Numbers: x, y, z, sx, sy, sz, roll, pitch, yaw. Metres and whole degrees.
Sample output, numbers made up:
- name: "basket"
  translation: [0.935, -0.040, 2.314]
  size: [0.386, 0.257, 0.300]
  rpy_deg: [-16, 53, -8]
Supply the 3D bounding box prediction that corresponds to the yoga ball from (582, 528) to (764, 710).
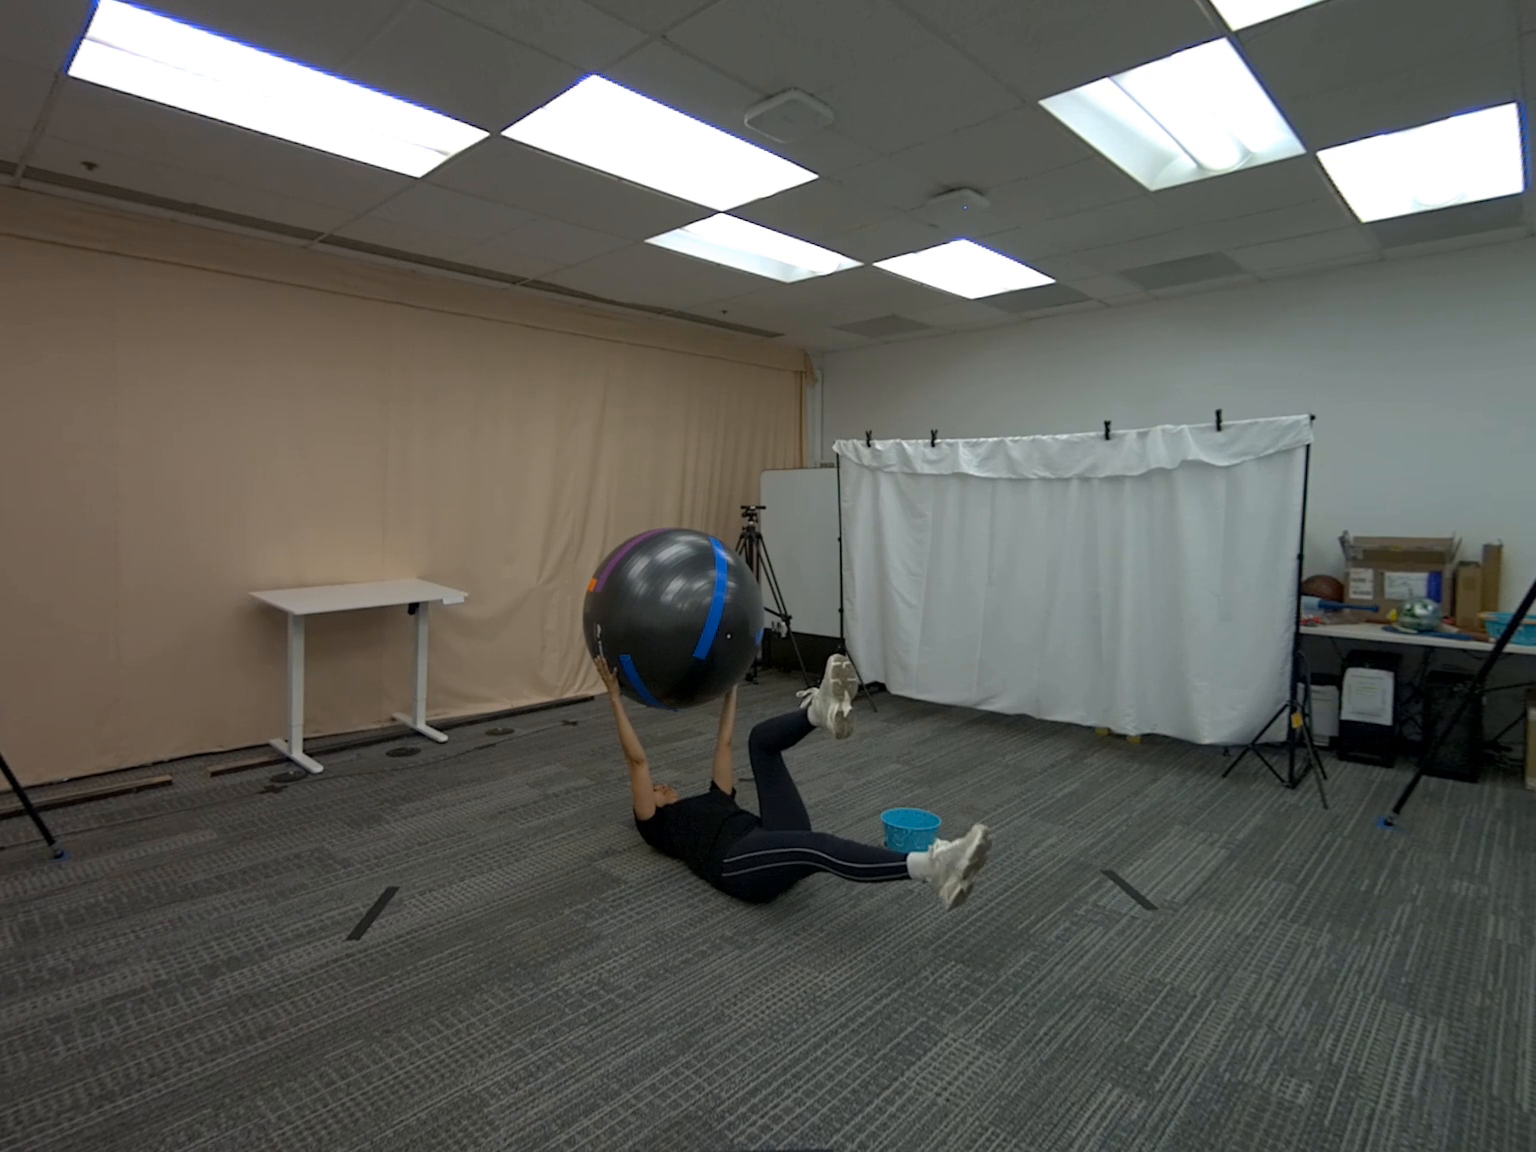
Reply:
- name: "yoga ball"
  translation: [-0.394, 0.177, 3.525]
  size: [0.757, 0.756, 0.761]
  rpy_deg: [3, 5, -2]
